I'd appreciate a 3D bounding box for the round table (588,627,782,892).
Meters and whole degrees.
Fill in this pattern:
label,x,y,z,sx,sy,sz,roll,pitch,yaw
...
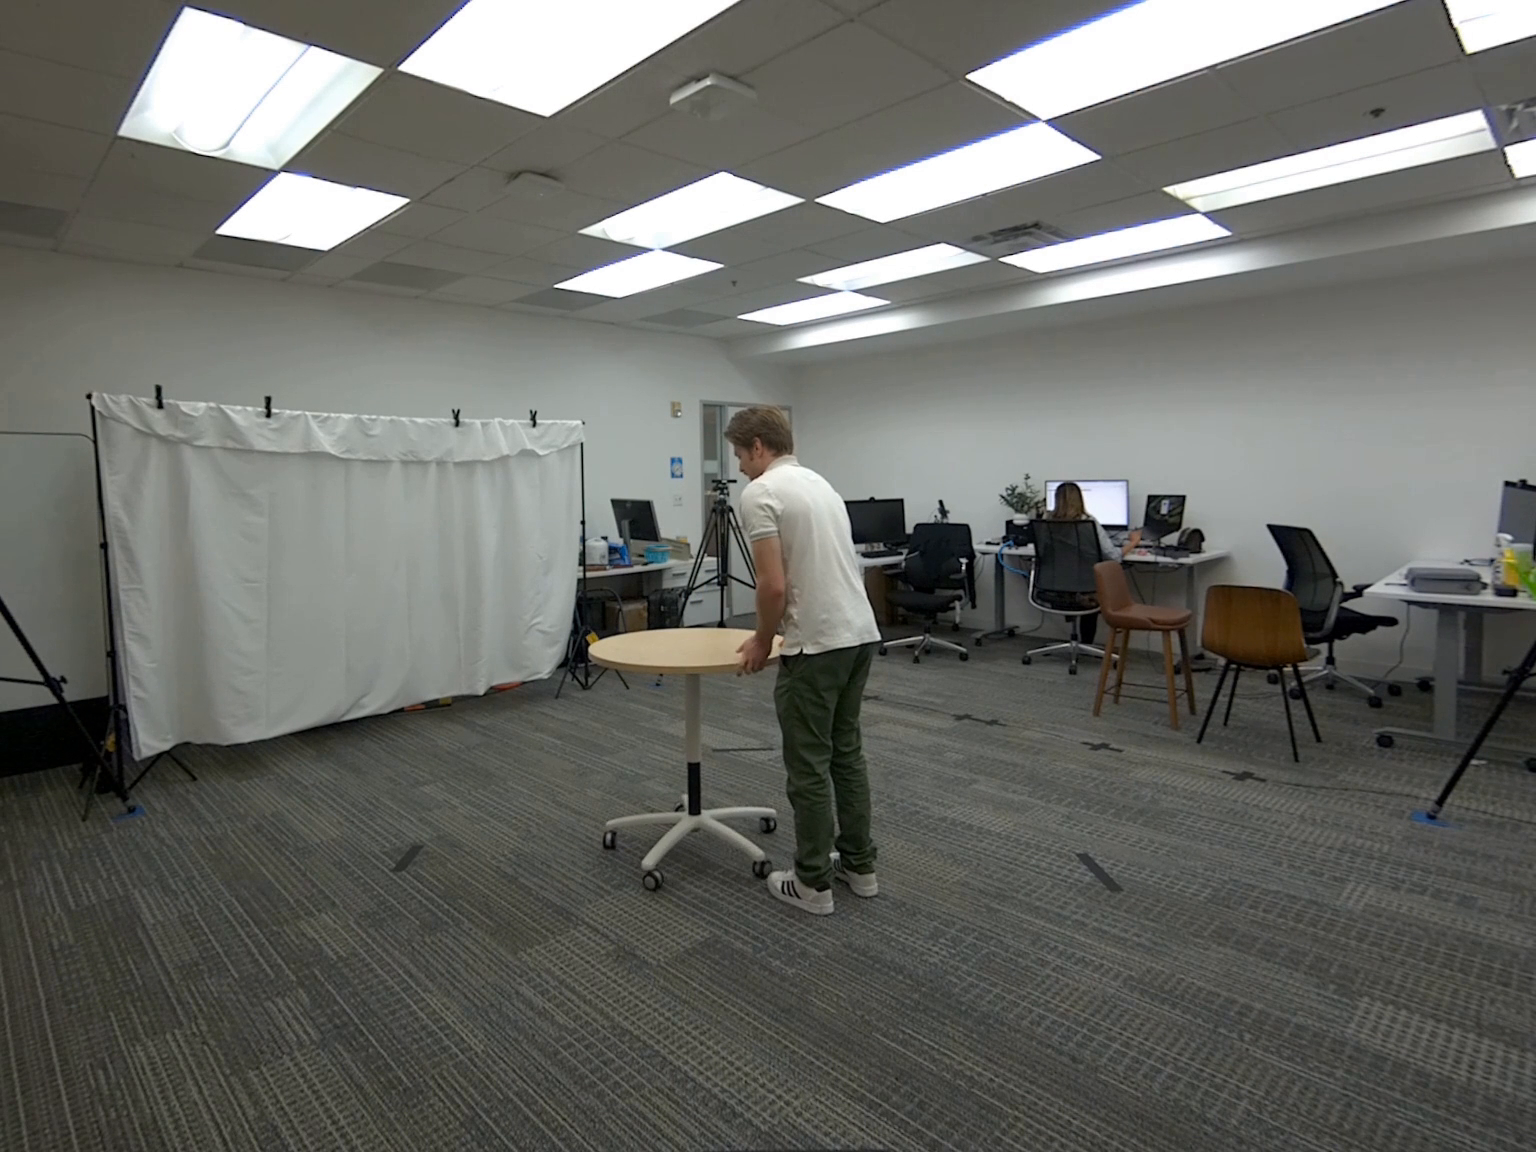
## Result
label,x,y,z,sx,sy,sz,roll,pitch,yaw
round table,-0.279,0.650,3.213,0.763,0.791,0.767,-1,4,-2
